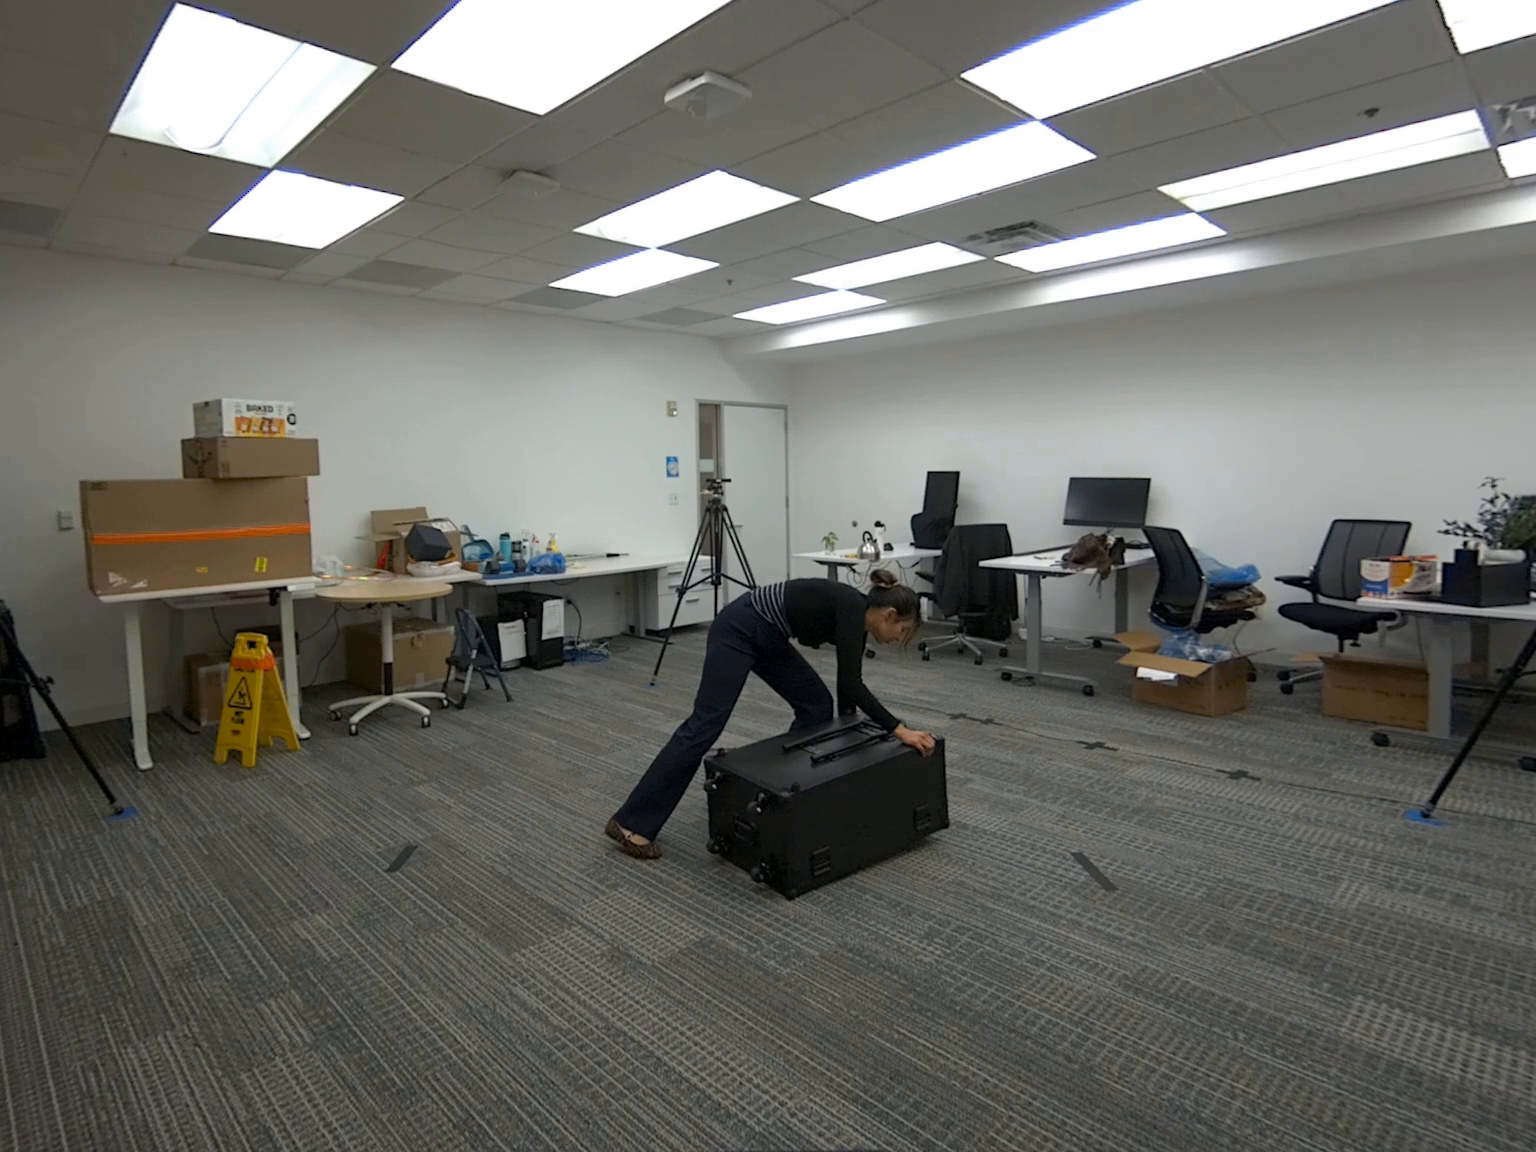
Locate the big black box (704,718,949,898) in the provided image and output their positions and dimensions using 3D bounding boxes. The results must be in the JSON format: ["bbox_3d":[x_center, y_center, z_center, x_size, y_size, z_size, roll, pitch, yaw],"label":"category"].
[{"bbox_3d":[0.252,0.831,3.229,0.841,0.394,0.536,-9,8,-35],"label":"big black box"}]
